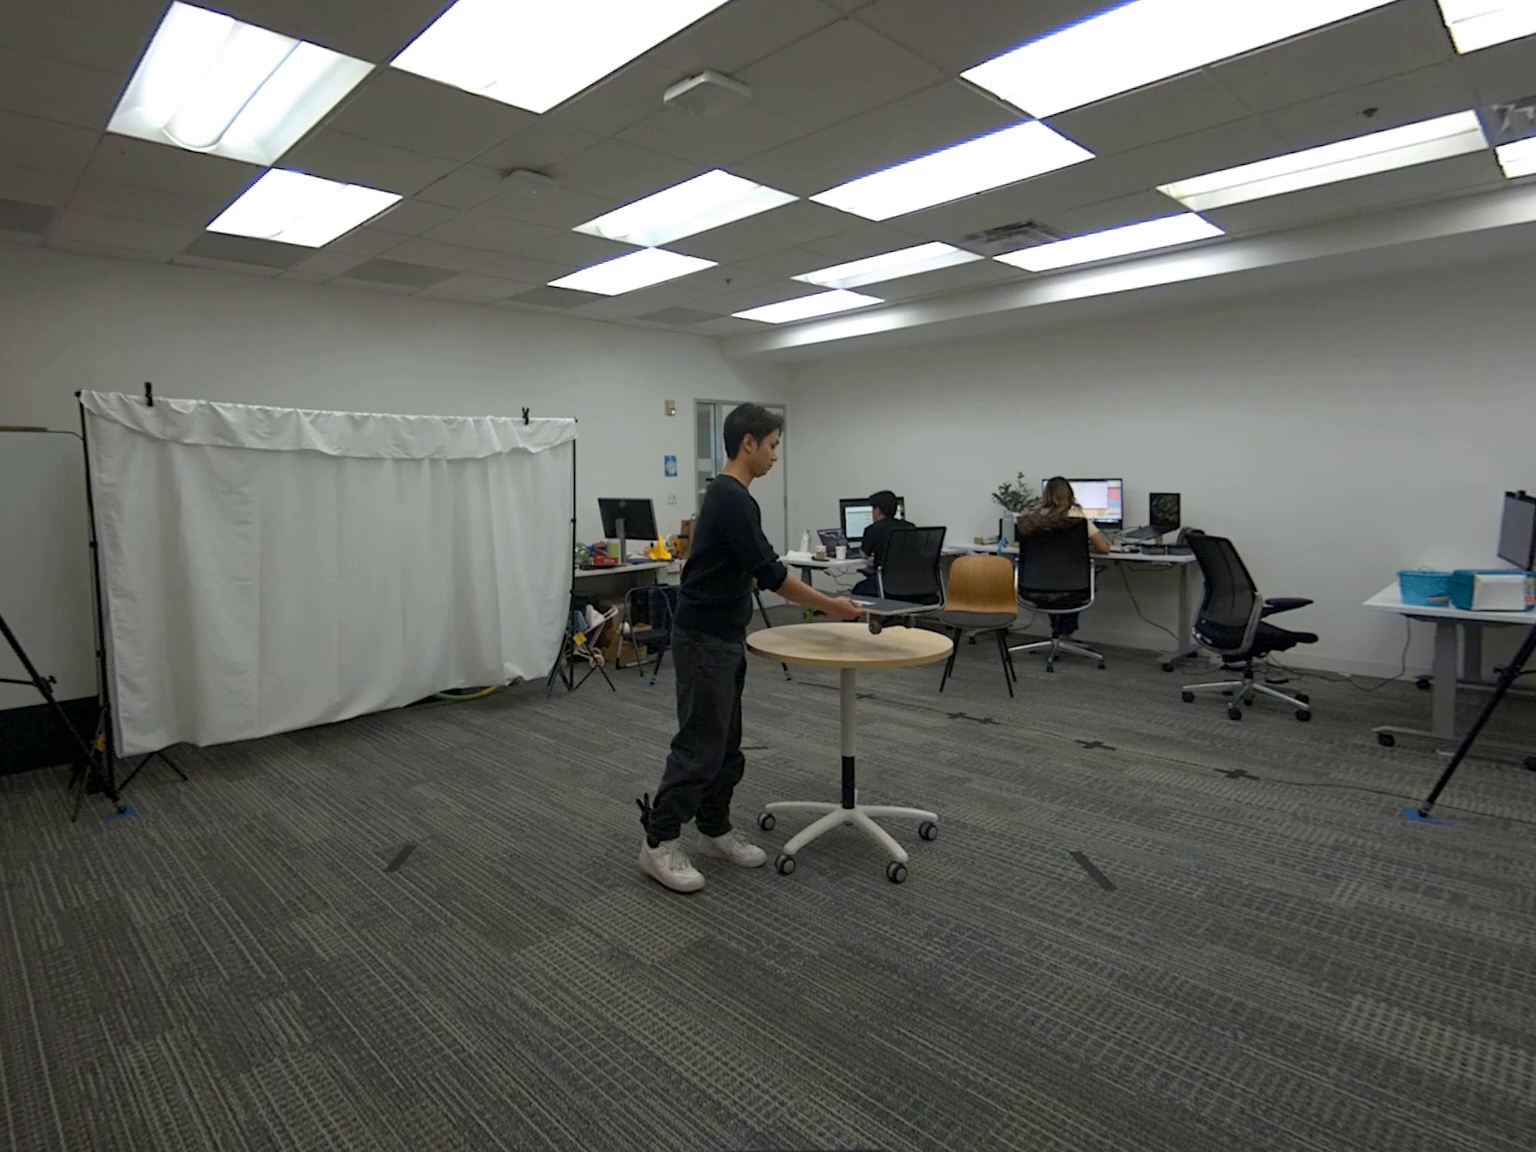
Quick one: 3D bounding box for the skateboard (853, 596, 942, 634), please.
[{"bbox_3d":[0.322,0.133,3.154,0.189,0.110,0.808,-6,7,-32],"label":"skateboard"}]
